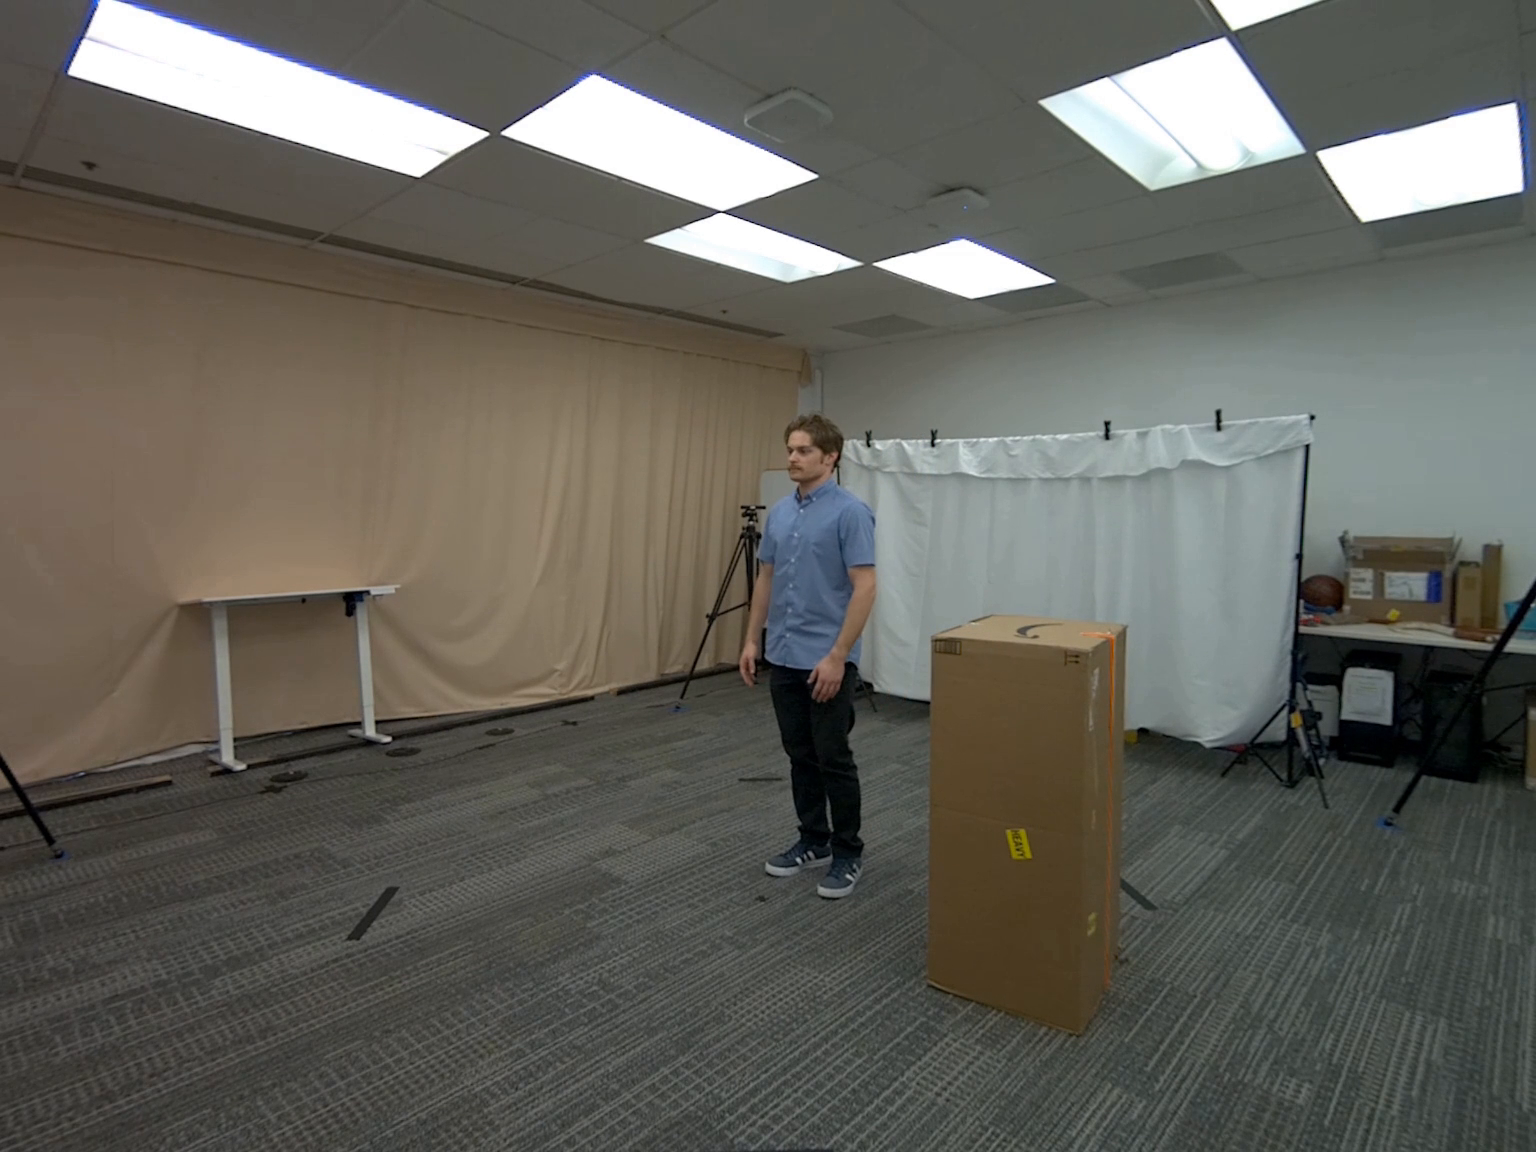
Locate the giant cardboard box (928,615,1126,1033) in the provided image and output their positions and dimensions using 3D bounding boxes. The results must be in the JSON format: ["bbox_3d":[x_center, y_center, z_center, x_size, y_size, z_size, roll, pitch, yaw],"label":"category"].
[{"bbox_3d":[0.800,0.672,2.525,0.439,1.024,0.561,2,3,34],"label":"giant cardboard box"}]
